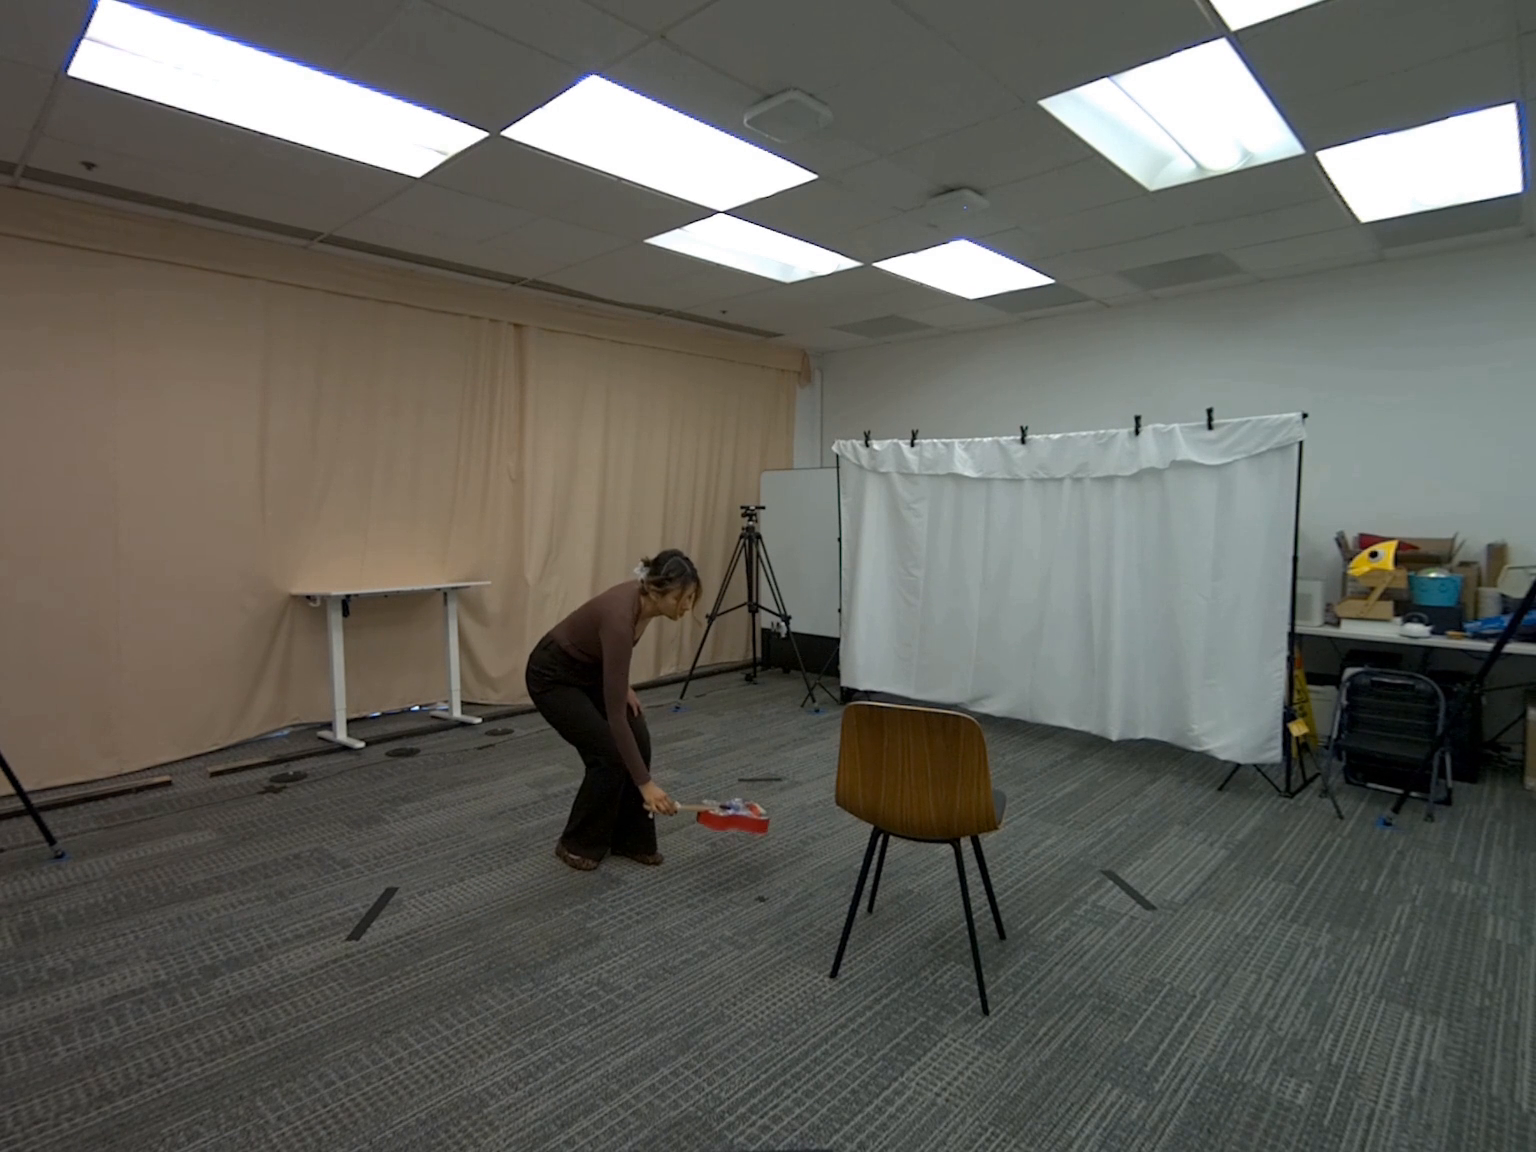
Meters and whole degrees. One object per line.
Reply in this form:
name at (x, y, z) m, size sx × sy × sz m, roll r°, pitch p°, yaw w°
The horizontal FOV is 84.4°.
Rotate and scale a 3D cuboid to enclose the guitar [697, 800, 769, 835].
guitar at (-0.237, 0.875, 3.158) m, size 0.488 × 0.070 × 0.197 m, roll 11°, pitch 5°, yaw -17°
